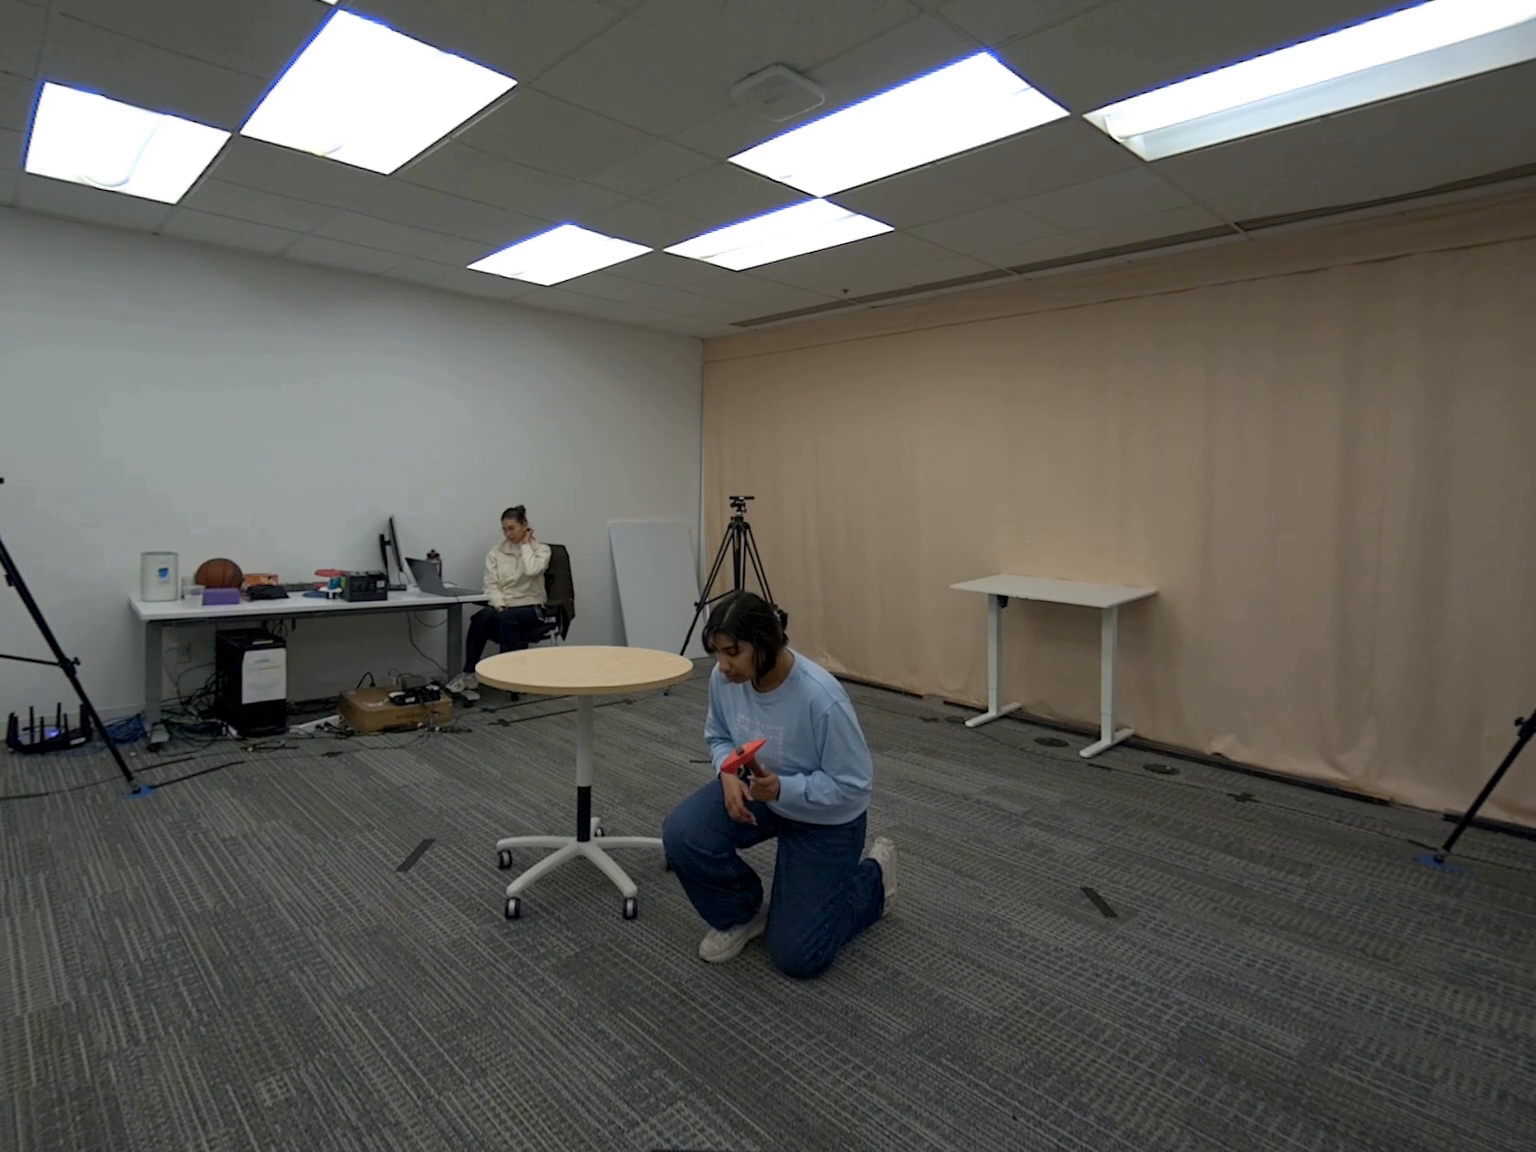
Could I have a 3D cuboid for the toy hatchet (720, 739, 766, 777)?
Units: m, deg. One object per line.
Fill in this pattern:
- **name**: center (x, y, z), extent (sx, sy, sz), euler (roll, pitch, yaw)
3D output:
- **toy hatchet**: center (-0.058, 0.512, 2.190), extent (0.130, 0.263, 0.030), euler (-26, 46, -22)
